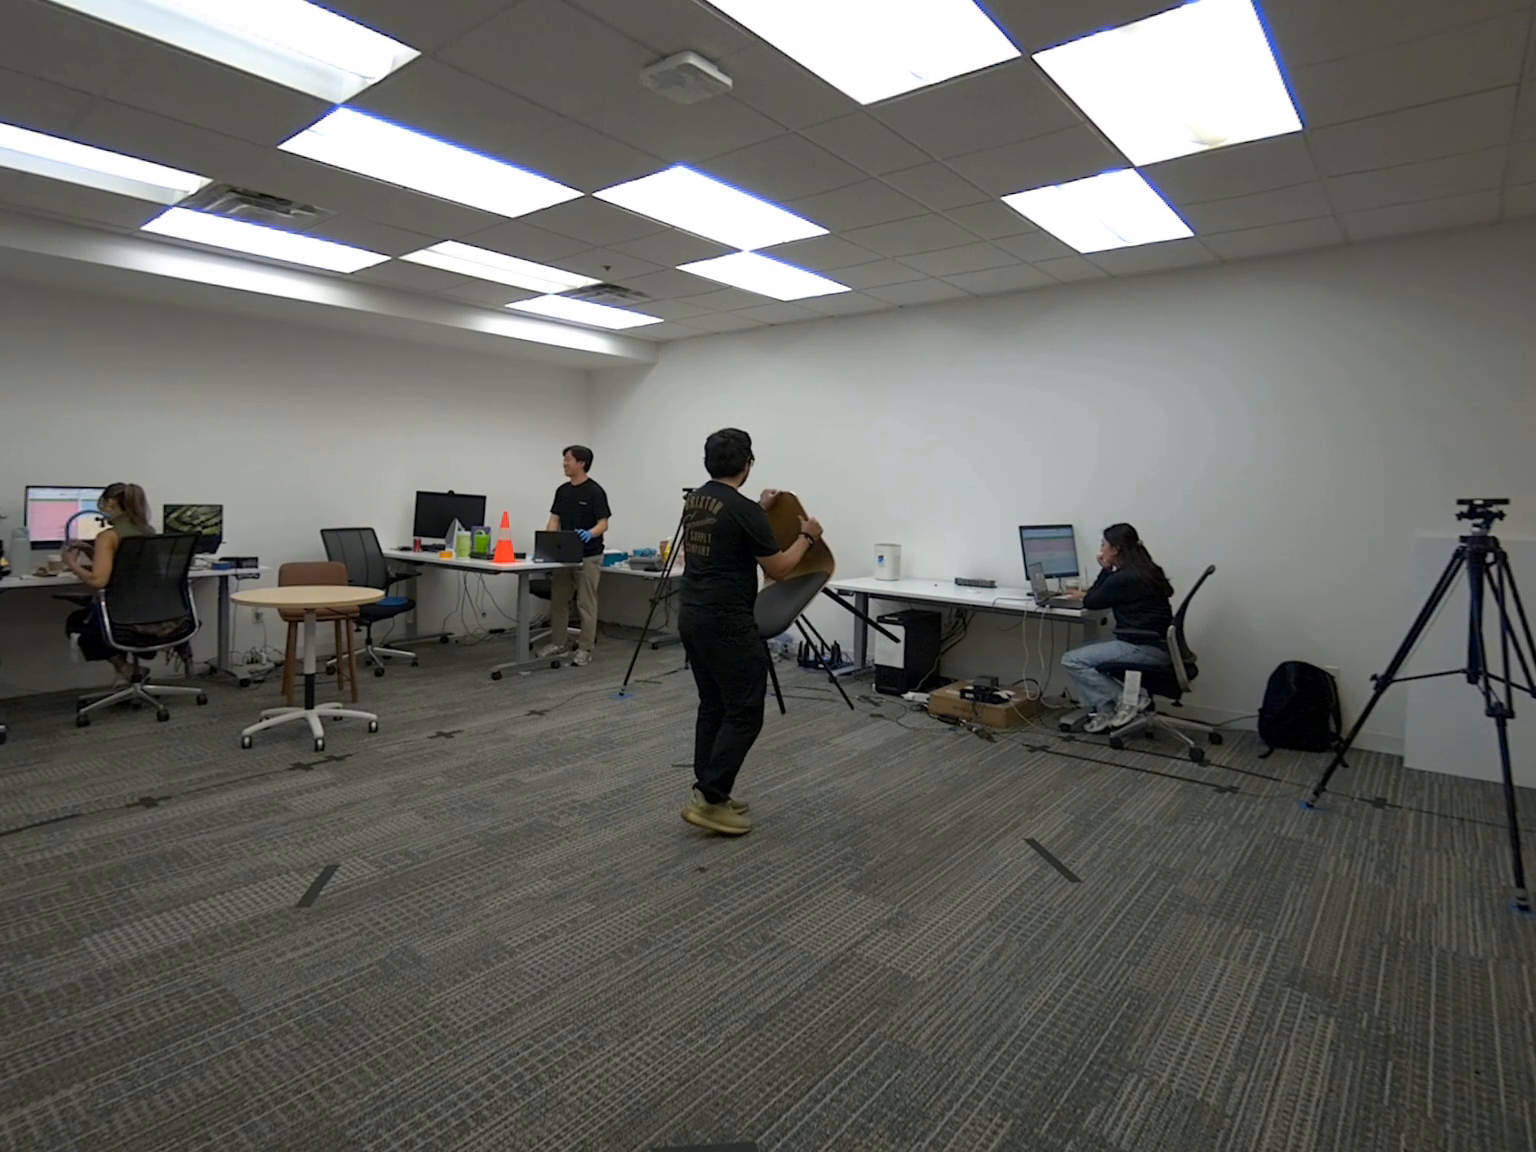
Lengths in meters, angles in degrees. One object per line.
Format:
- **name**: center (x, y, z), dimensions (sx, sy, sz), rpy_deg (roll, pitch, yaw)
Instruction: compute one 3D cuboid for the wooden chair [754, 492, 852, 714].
- **wooden chair**: center (0.086, 0.129, 3.746), dimensions (0.488, 0.864, 0.520), rpy_deg (-17, 18, 49)
